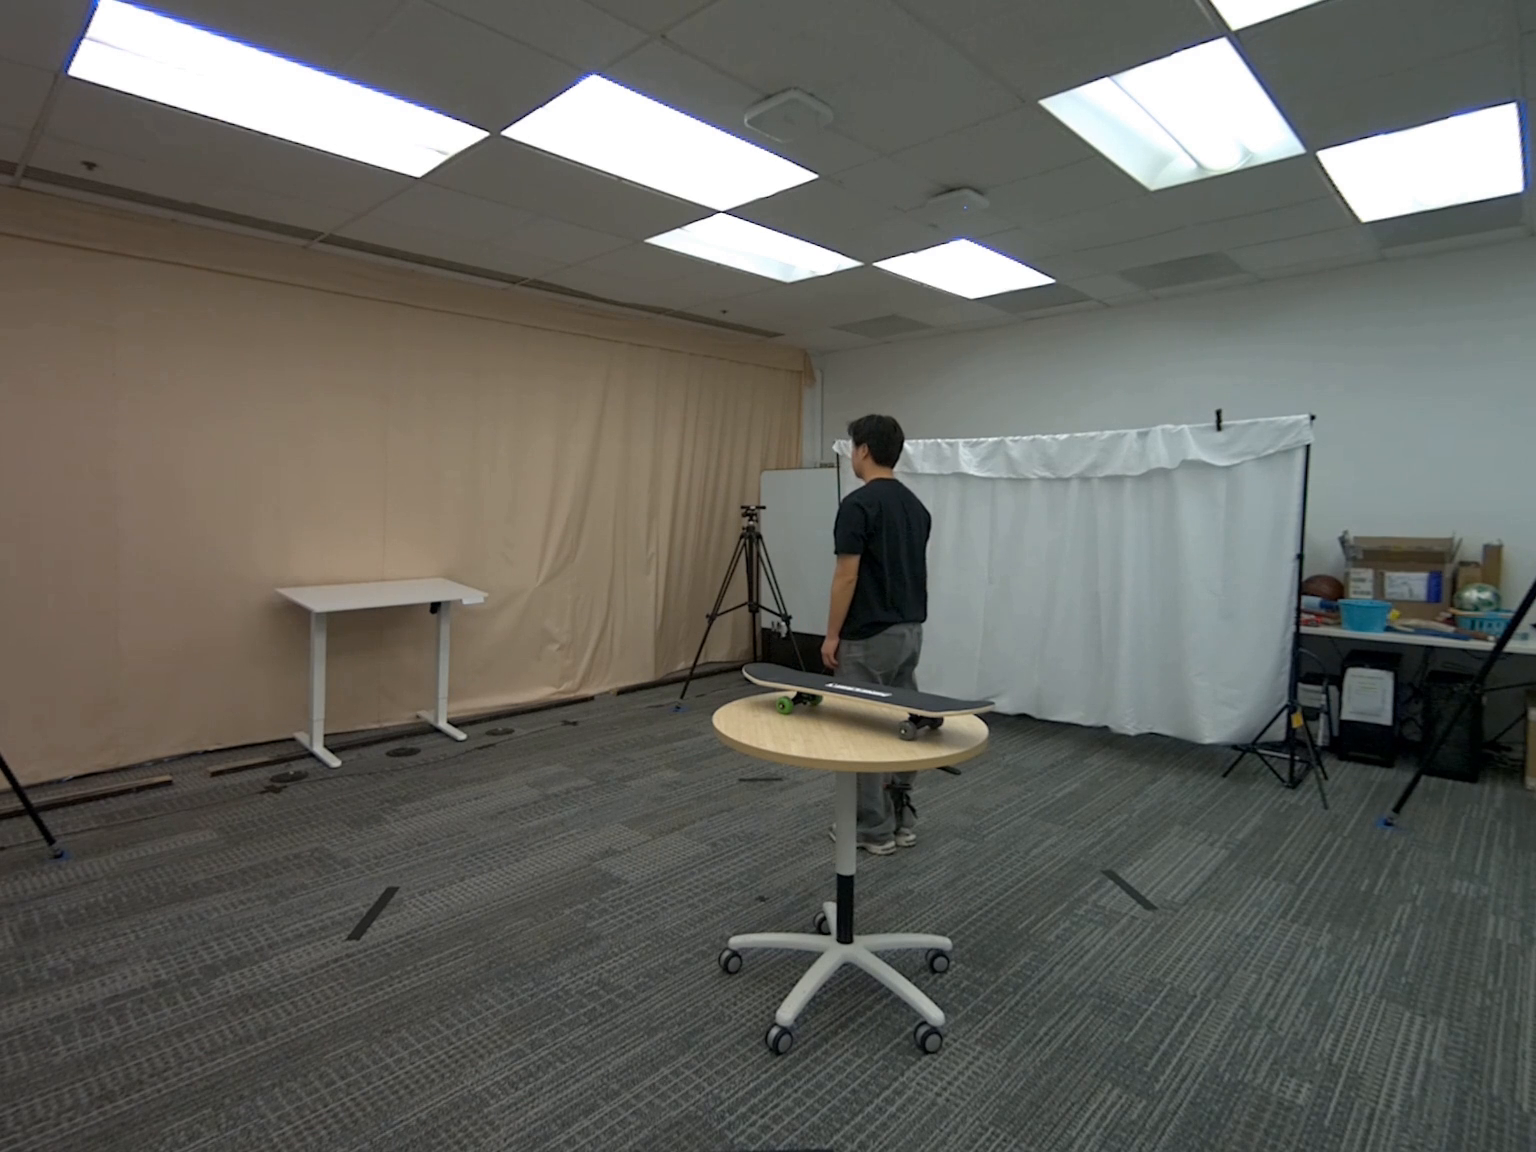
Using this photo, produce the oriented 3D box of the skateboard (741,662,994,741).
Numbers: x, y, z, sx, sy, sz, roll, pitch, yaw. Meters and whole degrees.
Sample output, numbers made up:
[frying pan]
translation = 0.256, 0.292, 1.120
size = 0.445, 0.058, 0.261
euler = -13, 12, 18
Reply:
[skateboard]
translation = 0.250, 0.362, 2.379
size = 0.812, 0.110, 0.188
euler = 5, 8, 40
